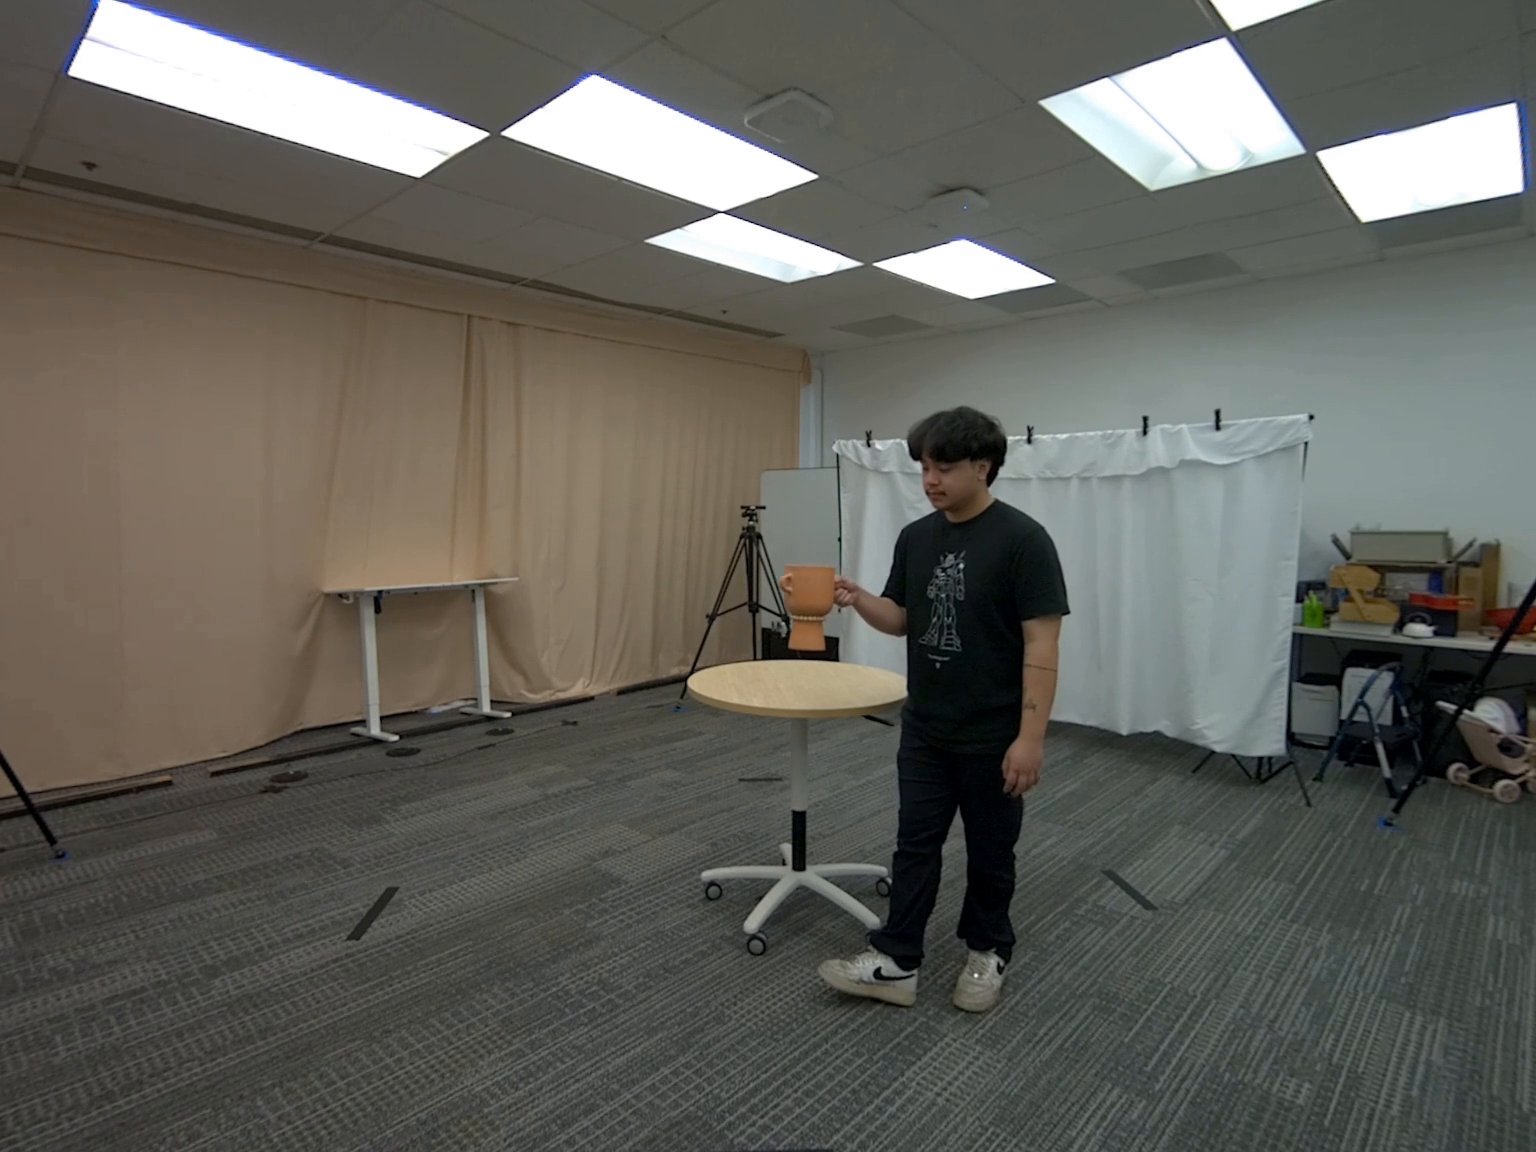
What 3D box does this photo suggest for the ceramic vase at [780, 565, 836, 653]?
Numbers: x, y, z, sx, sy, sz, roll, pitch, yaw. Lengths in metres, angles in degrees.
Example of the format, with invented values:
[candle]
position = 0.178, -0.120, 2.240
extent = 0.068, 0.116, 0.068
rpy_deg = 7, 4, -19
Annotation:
[ceramic vase]
position = 0.114, 0.086, 2.228
extent = 0.159, 0.220, 0.134
rpy_deg = 2, -2, 3
